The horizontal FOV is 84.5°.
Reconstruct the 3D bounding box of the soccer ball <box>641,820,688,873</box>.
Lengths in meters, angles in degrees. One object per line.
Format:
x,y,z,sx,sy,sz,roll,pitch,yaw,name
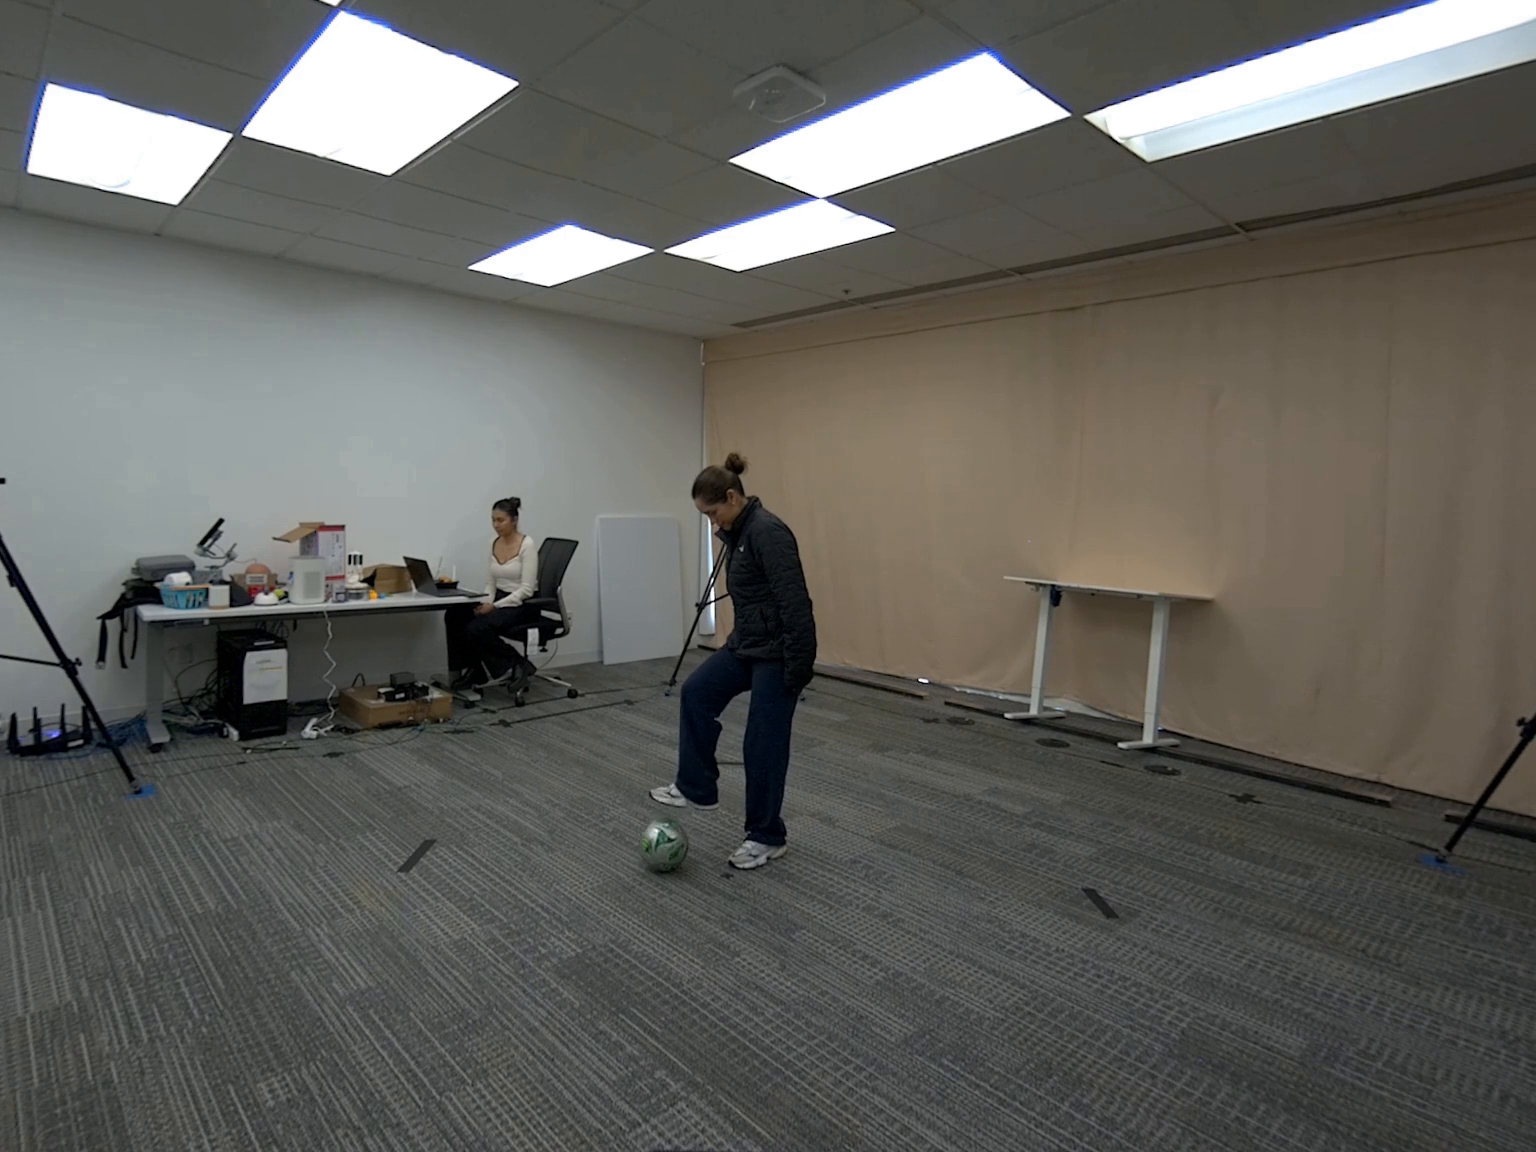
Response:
-0.395,1.001,3.144,0.187,0.187,0.188,1,4,-1,soccer ball
